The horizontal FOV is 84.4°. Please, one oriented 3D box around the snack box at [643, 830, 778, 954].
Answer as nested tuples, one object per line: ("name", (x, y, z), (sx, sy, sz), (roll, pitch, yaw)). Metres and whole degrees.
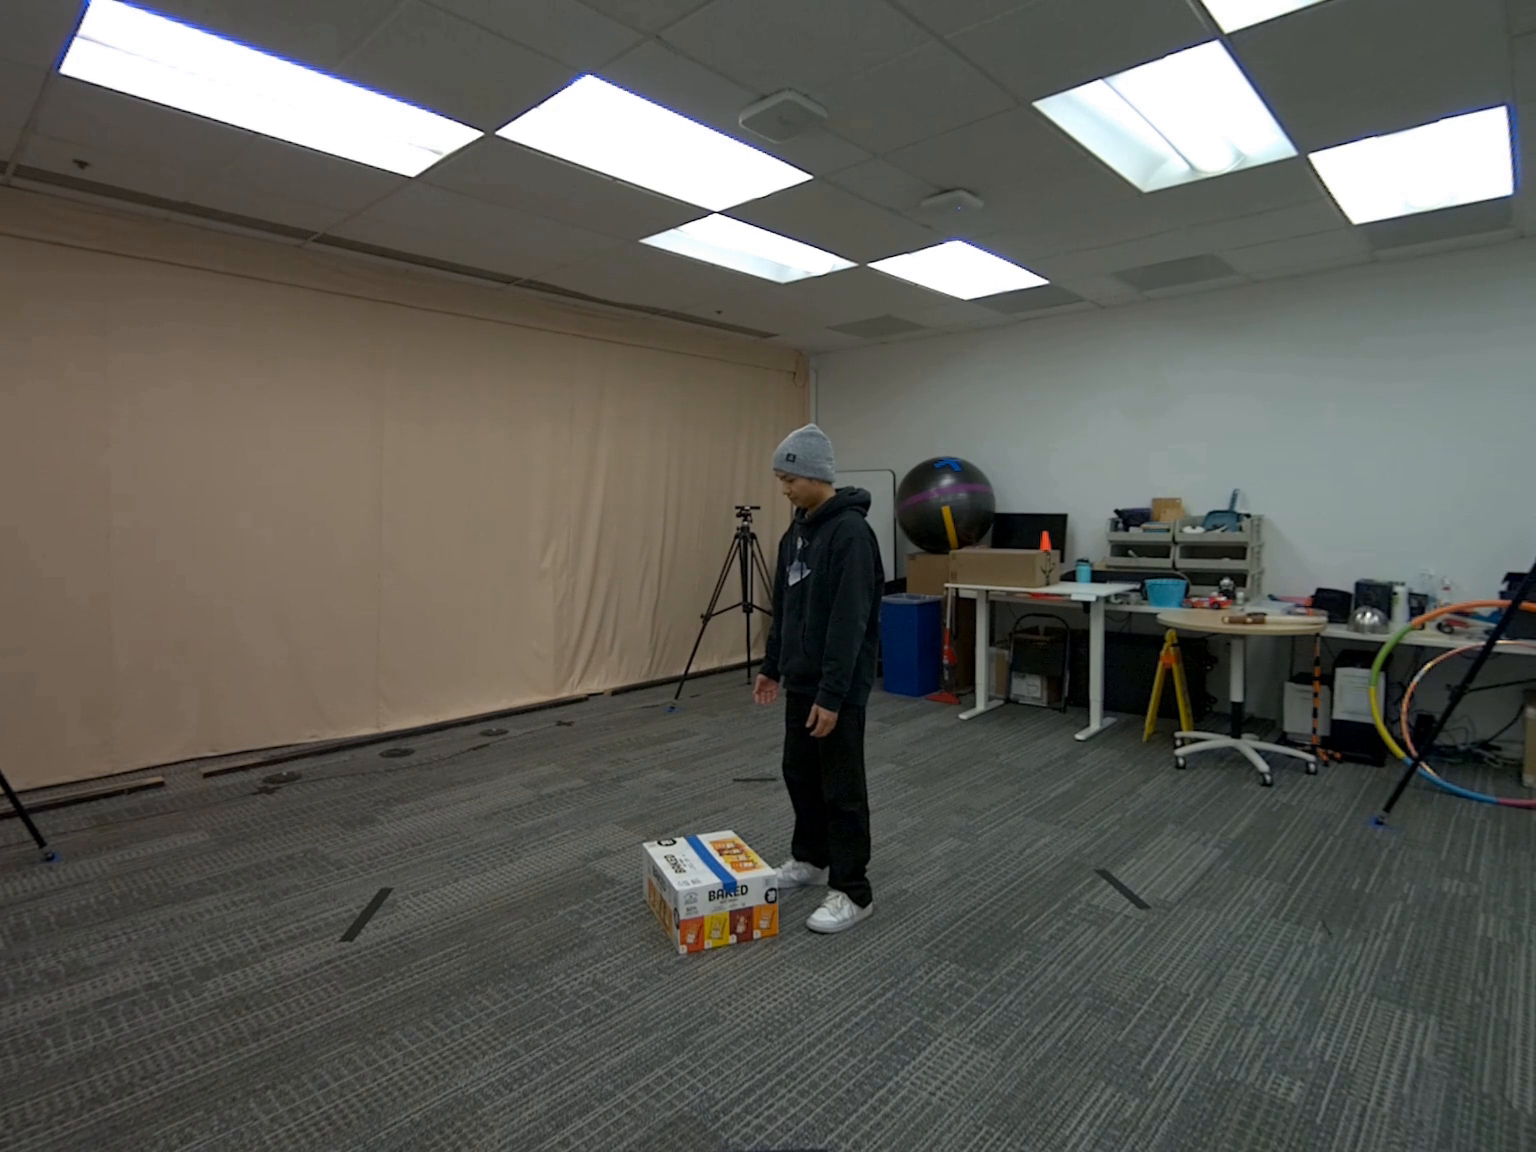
("snack box", (-0.205, 1.056, 2.849), (0.333, 0.205, 0.415), (-2, 4, -23))
